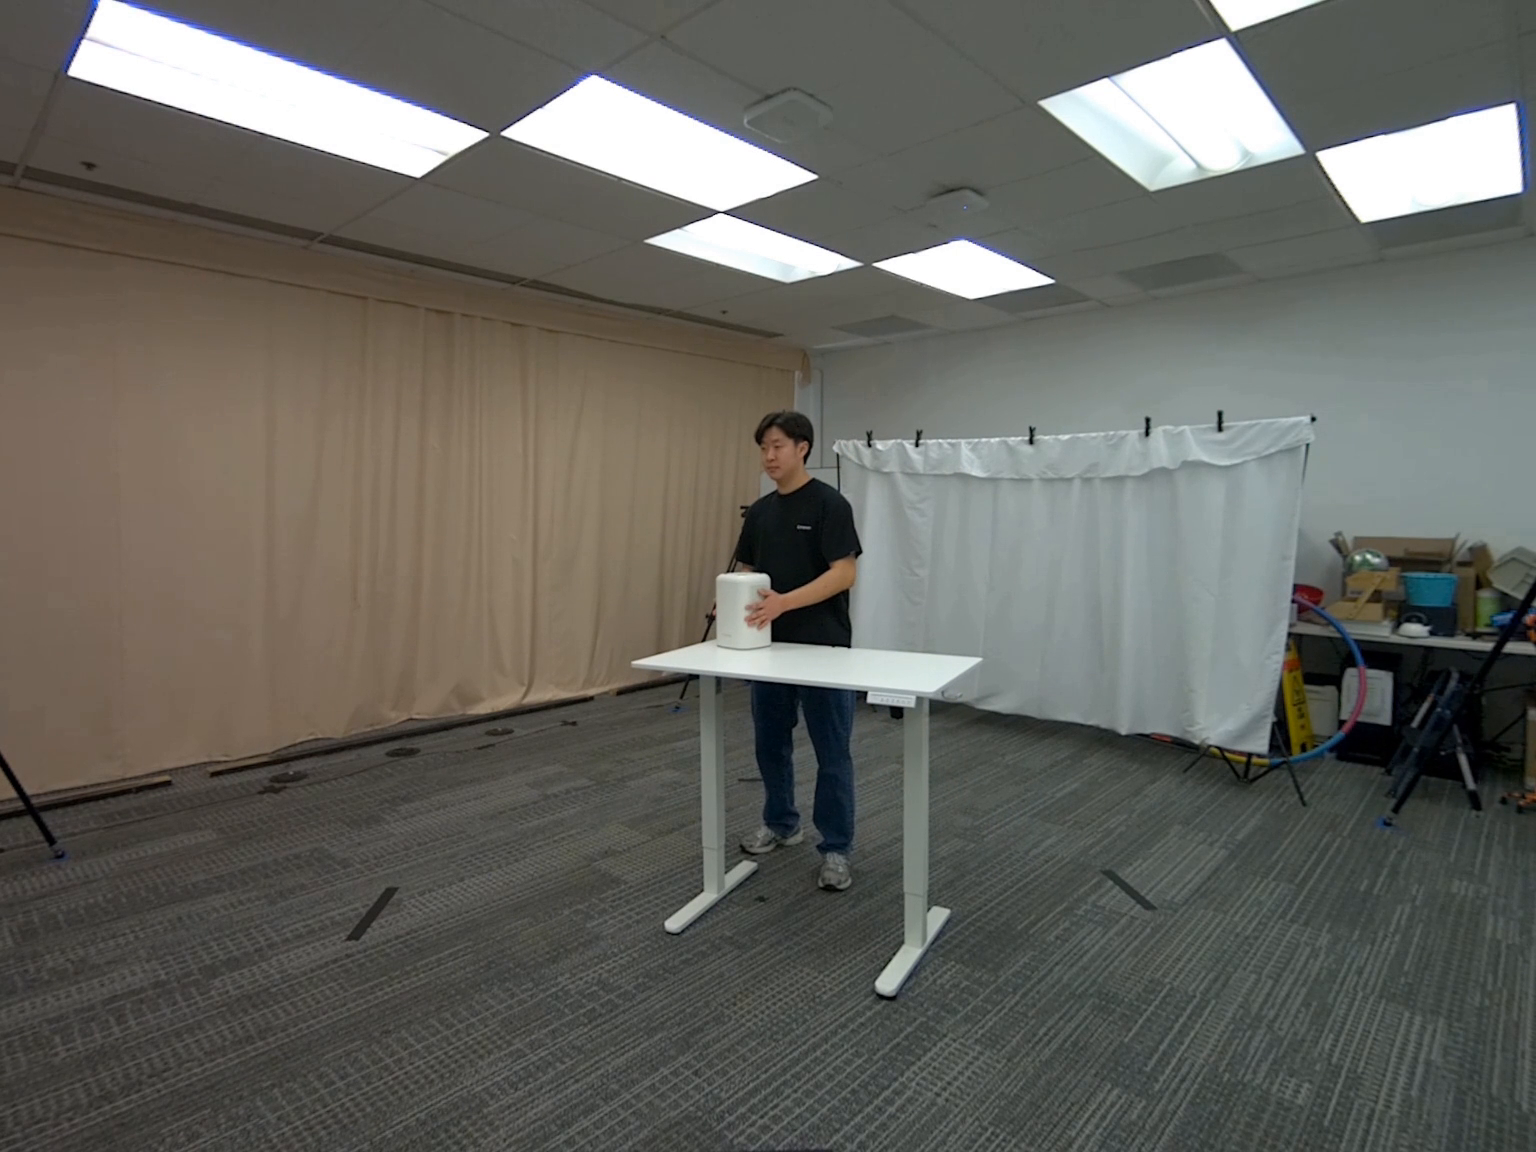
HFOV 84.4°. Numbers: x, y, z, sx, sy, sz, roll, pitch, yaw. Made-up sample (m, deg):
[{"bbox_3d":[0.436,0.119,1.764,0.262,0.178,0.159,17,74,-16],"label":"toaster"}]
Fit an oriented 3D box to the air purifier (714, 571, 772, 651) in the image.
[{"bbox_3d":[-0.086,0.124,3.080,0.166,0.265,0.176,-2,2,-43],"label":"air purifier"}]
